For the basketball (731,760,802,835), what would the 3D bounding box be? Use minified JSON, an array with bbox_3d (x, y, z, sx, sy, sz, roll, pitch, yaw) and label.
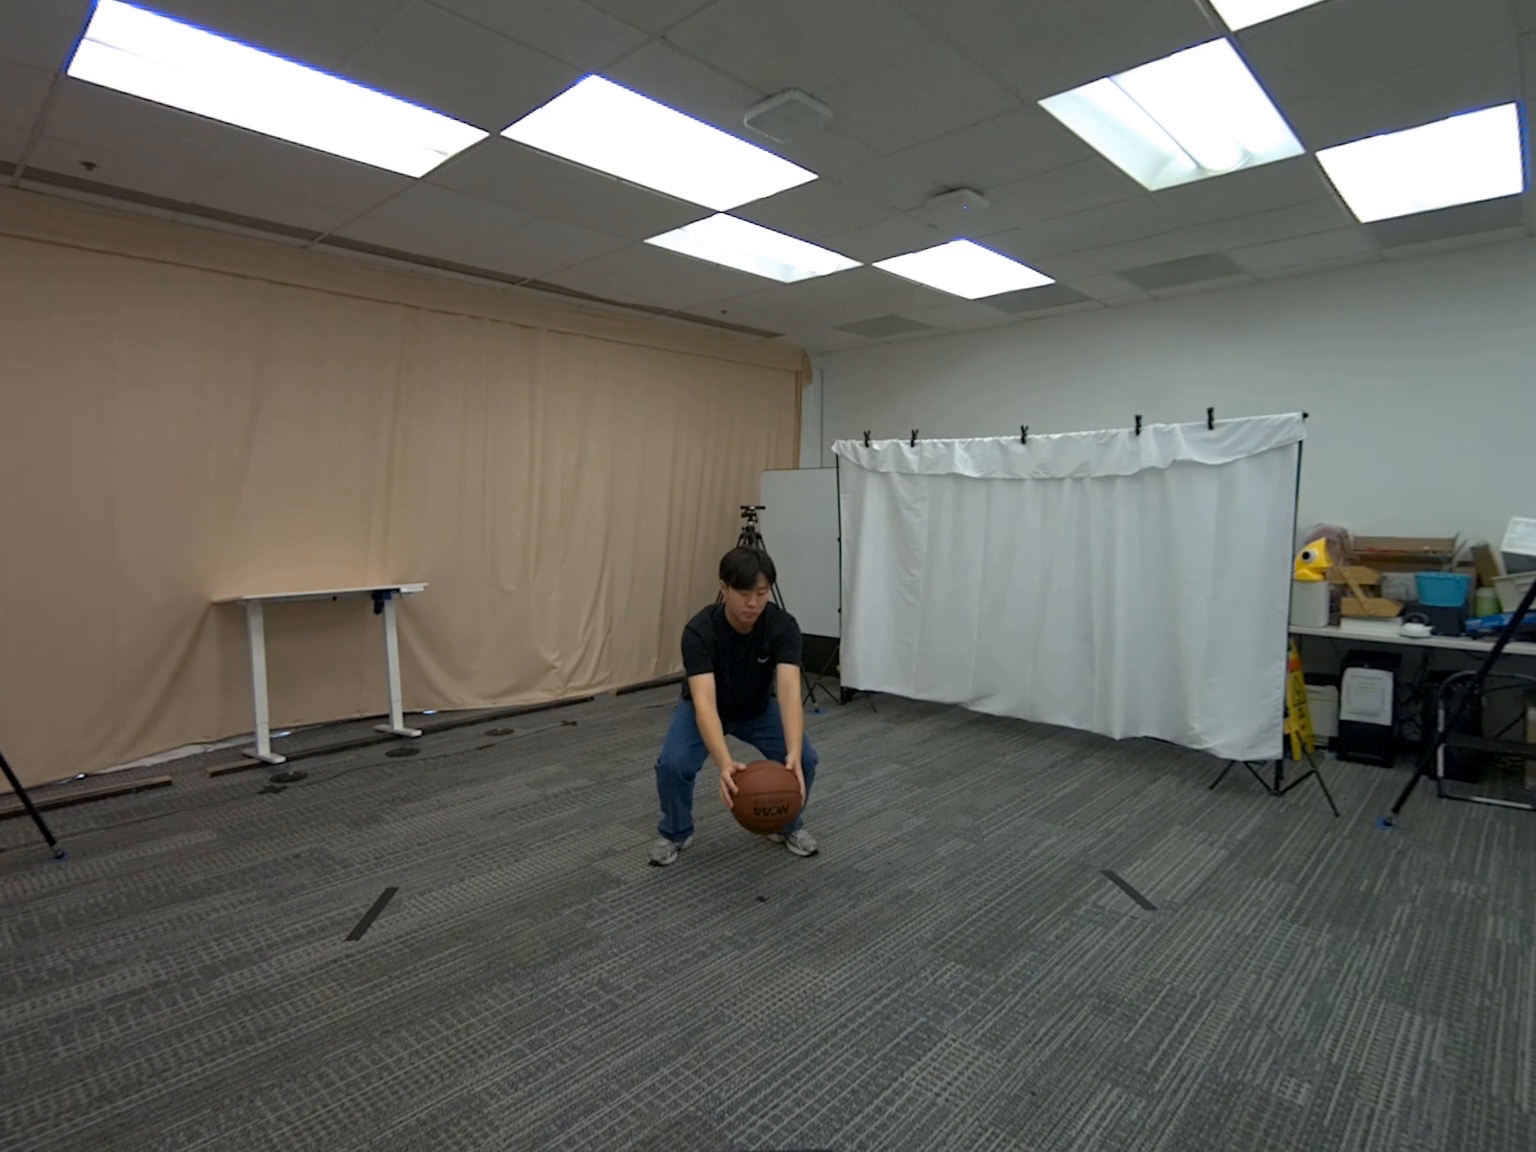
[{"bbox_3d":[-0.009,0.717,2.778,0.236,0.235,0.237,0,4,-2],"label":"basketball"}]
